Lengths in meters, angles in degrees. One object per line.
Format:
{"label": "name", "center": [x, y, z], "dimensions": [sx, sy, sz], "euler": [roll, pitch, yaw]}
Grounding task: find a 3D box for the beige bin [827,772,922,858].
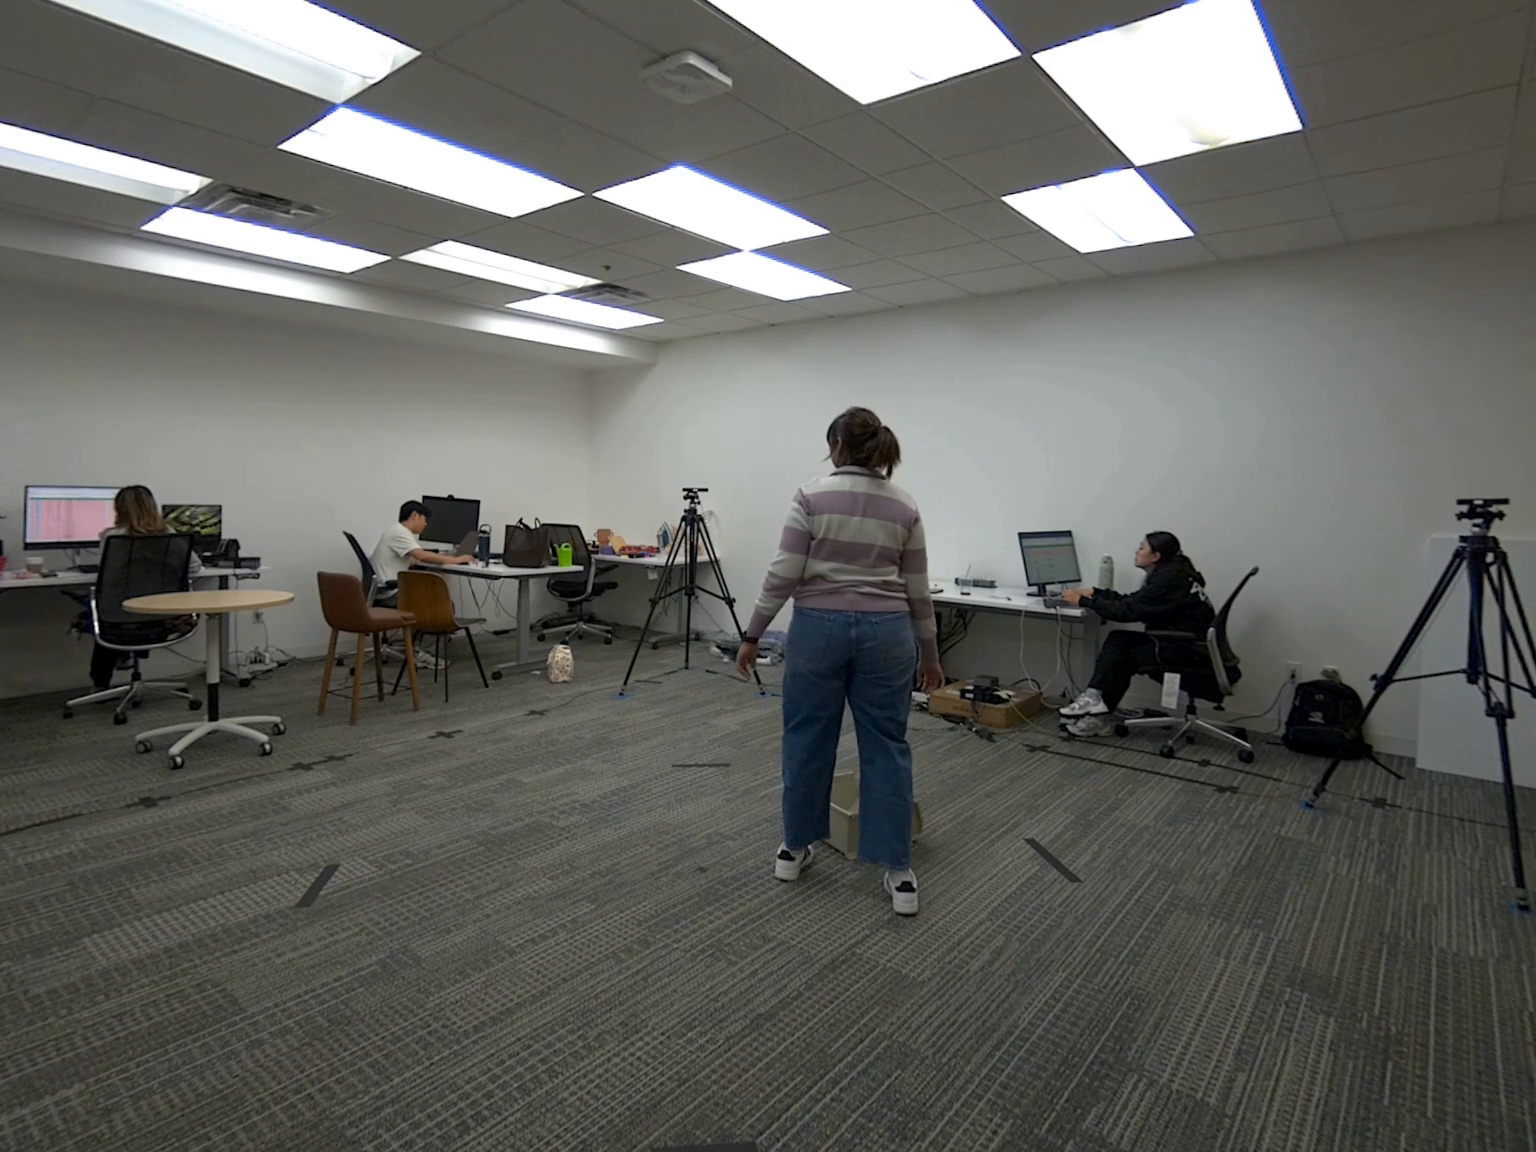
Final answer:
{"label": "beige bin", "center": [0.342, 0.953, 3.471], "dimensions": [0.367, 0.188, 0.436], "euler": [-3, 7, -32]}
